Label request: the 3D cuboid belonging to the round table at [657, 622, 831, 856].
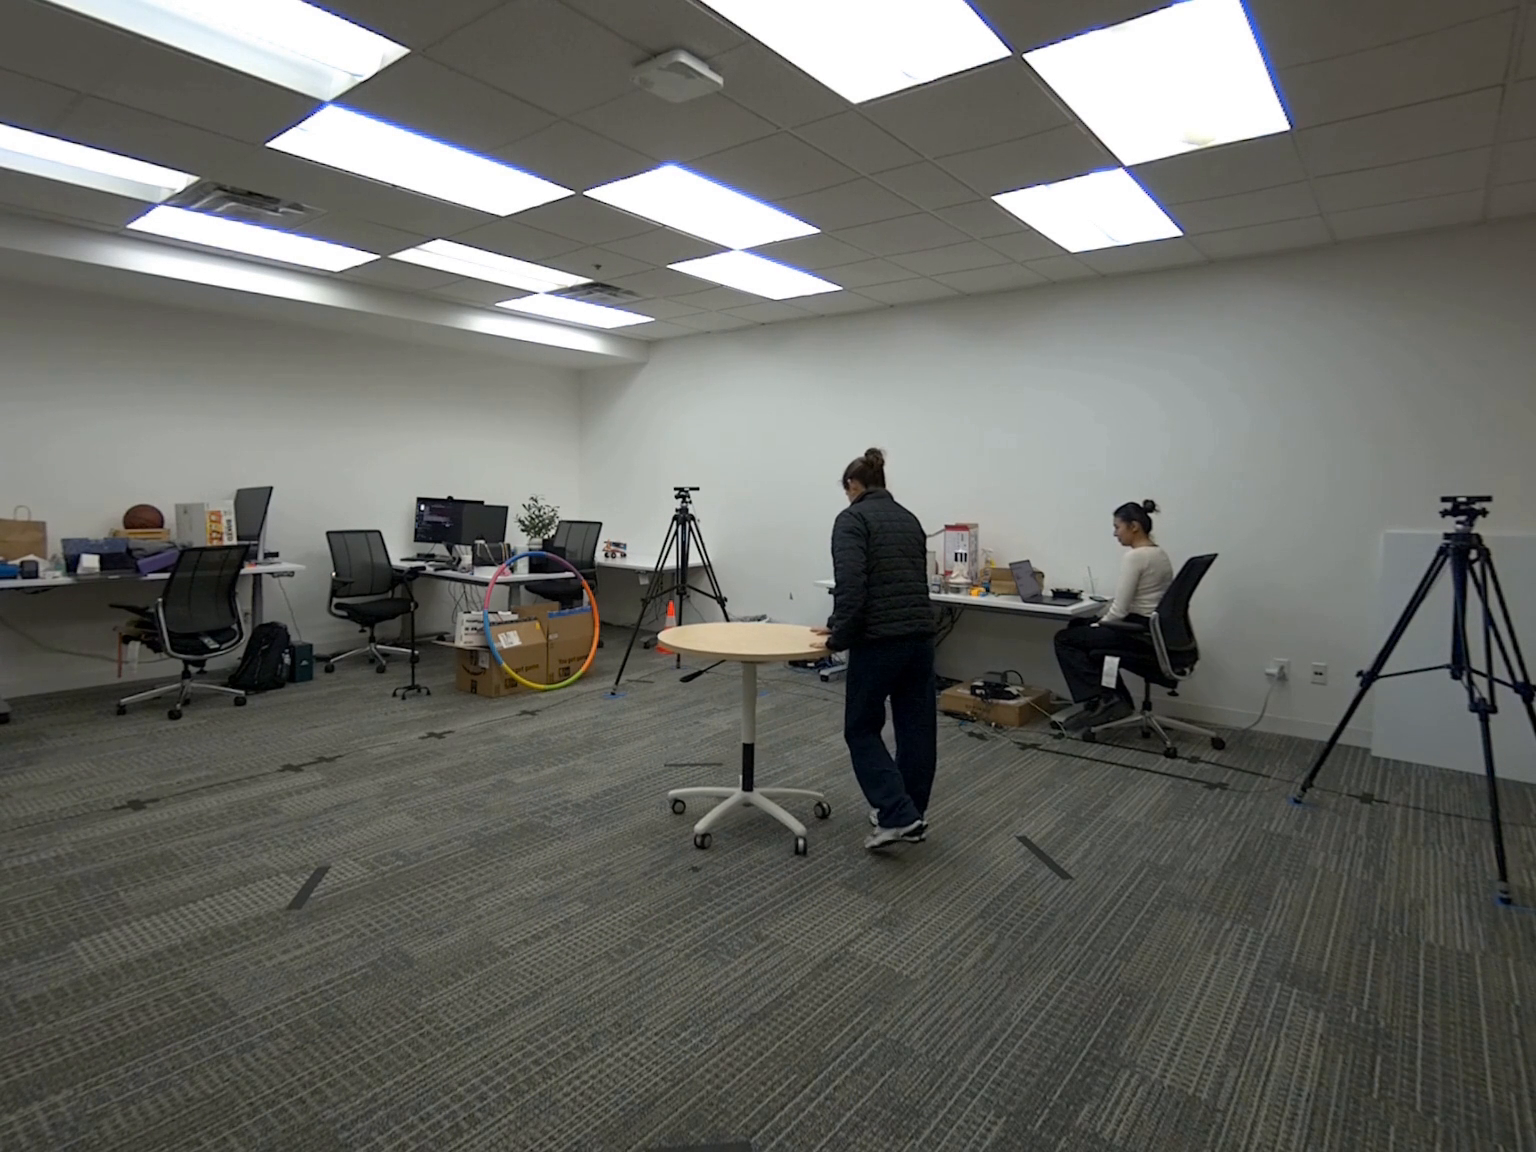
[{"bbox_3d":[-0.054,0.636,3.538,0.784,0.784,0.789,1,4,-2],"label":"round table"}]
